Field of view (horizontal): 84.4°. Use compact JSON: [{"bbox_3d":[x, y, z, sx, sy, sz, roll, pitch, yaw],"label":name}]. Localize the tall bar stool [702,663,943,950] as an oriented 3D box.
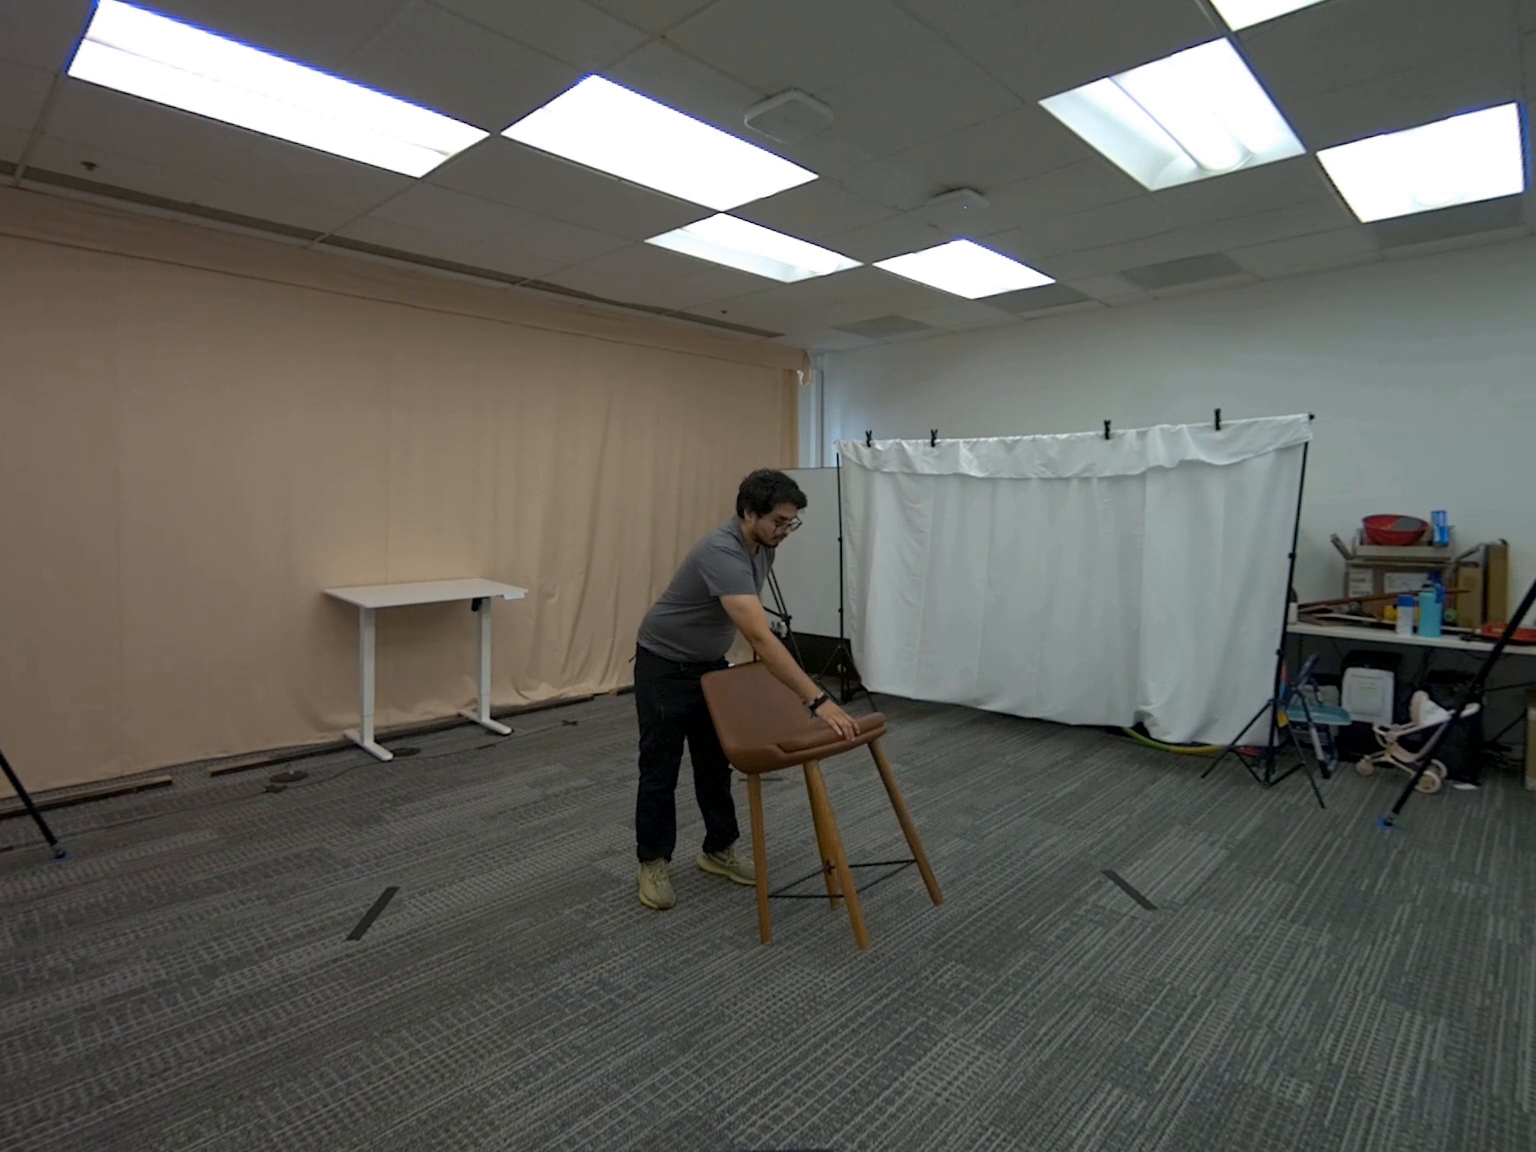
[{"bbox_3d":[0.156,0.685,2.734,0.442,0.899,0.477,-4,-16,-44],"label":"tall bar stool"}]
